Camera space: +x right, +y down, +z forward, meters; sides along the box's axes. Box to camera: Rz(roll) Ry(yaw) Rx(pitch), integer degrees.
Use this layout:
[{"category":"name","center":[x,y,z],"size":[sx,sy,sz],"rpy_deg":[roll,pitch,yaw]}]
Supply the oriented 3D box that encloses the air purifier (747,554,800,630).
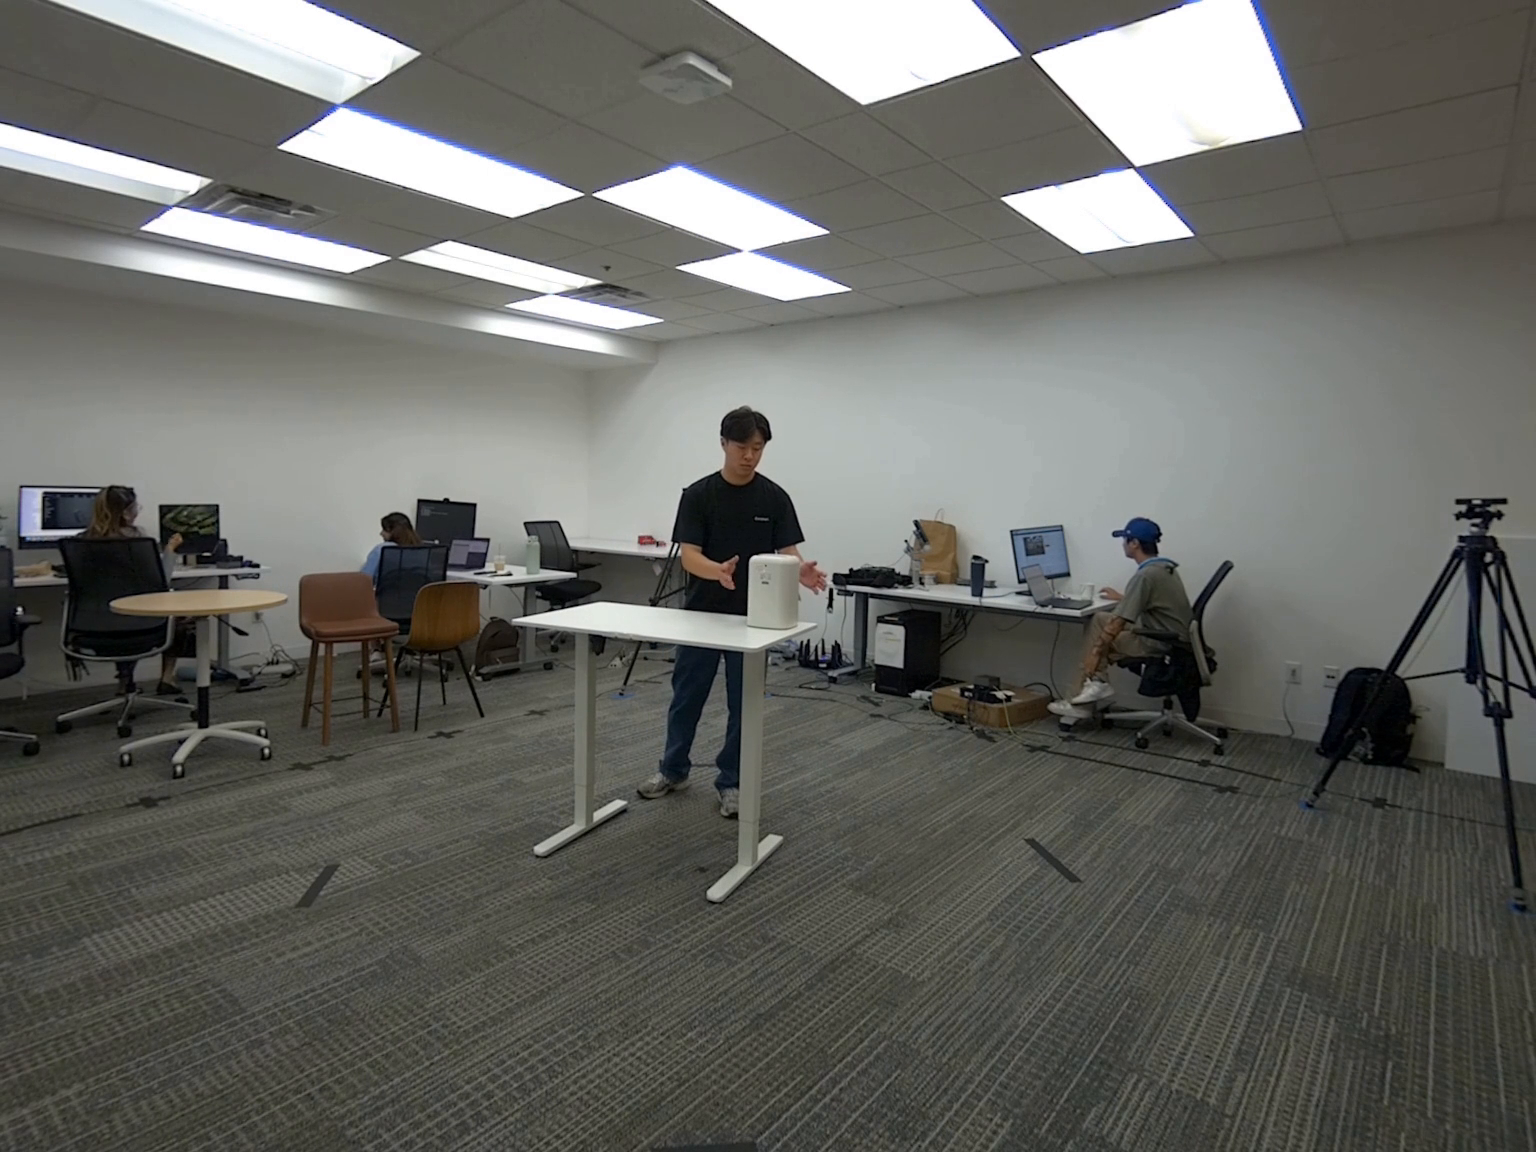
[{"category":"air purifier","center":[0.008,0.050,3.194],"size":[0.175,0.265,0.167],"rpy_deg":[3,4,25]}]
